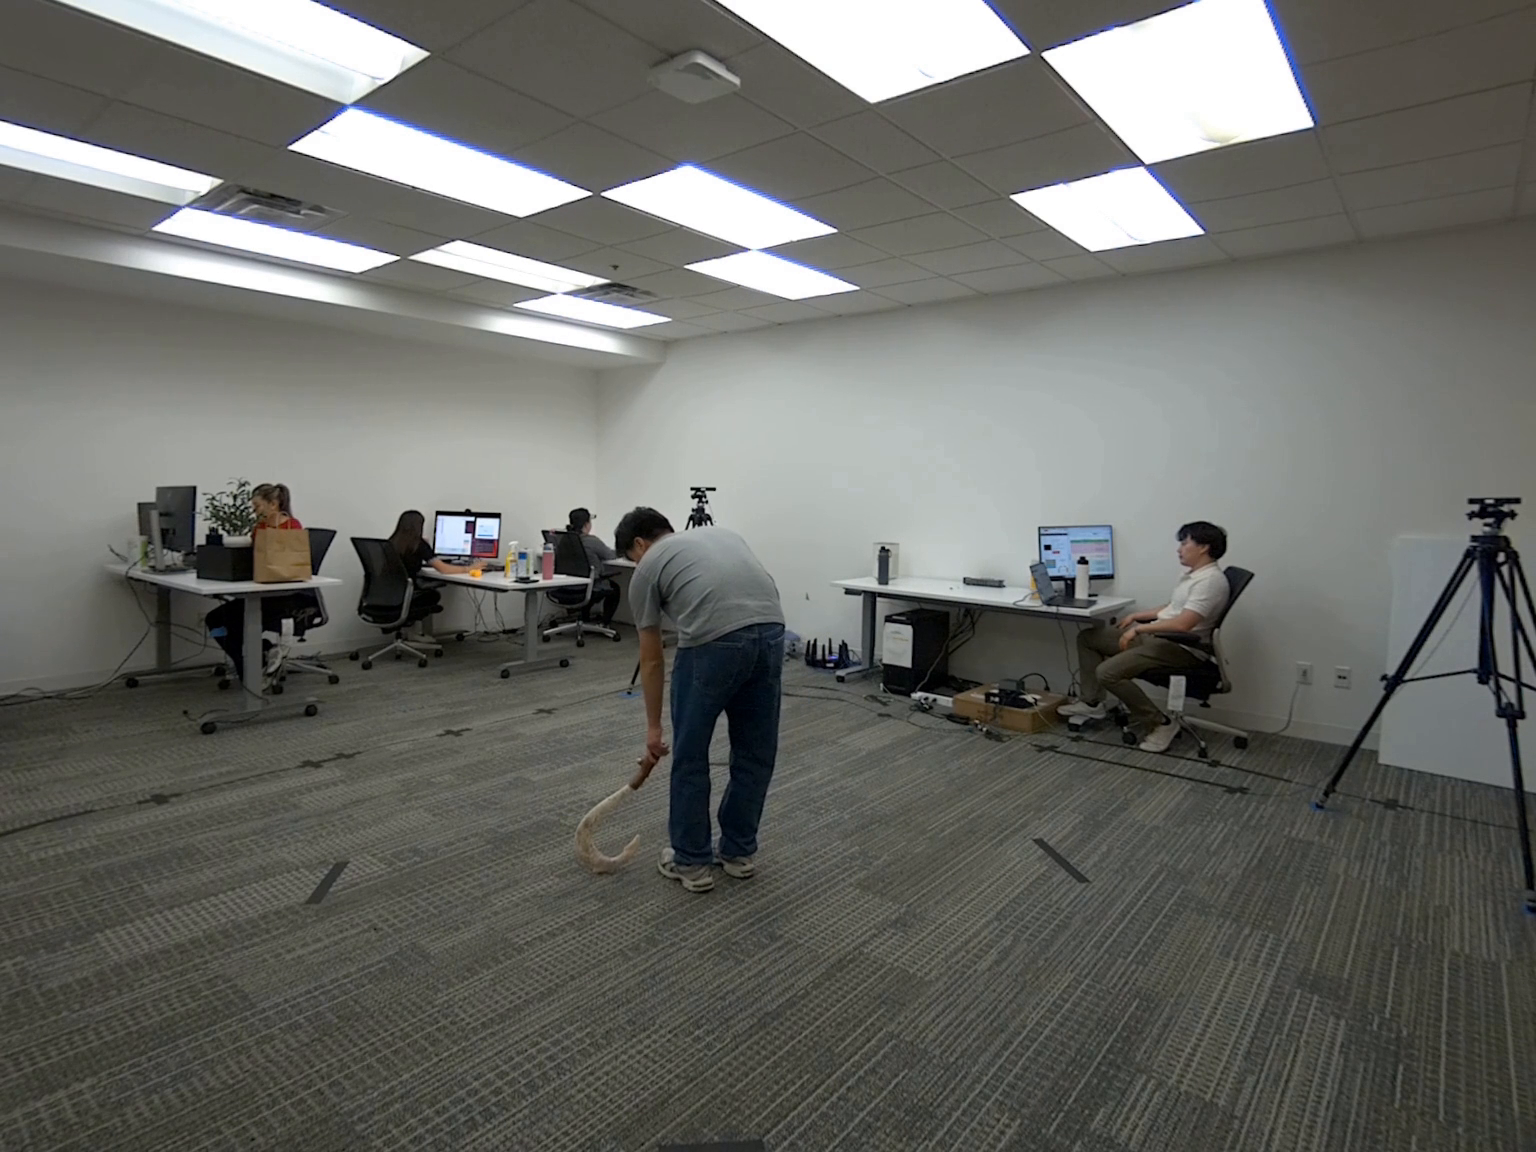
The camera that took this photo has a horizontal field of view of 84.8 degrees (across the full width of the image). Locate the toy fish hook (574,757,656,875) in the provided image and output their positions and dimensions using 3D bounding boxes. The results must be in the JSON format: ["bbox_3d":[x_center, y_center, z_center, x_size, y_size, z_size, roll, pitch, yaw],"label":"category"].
[{"bbox_3d":[-0.515,0.850,3.138,0.227,0.507,0.048,36,-16,8],"label":"toy fish hook"}]
